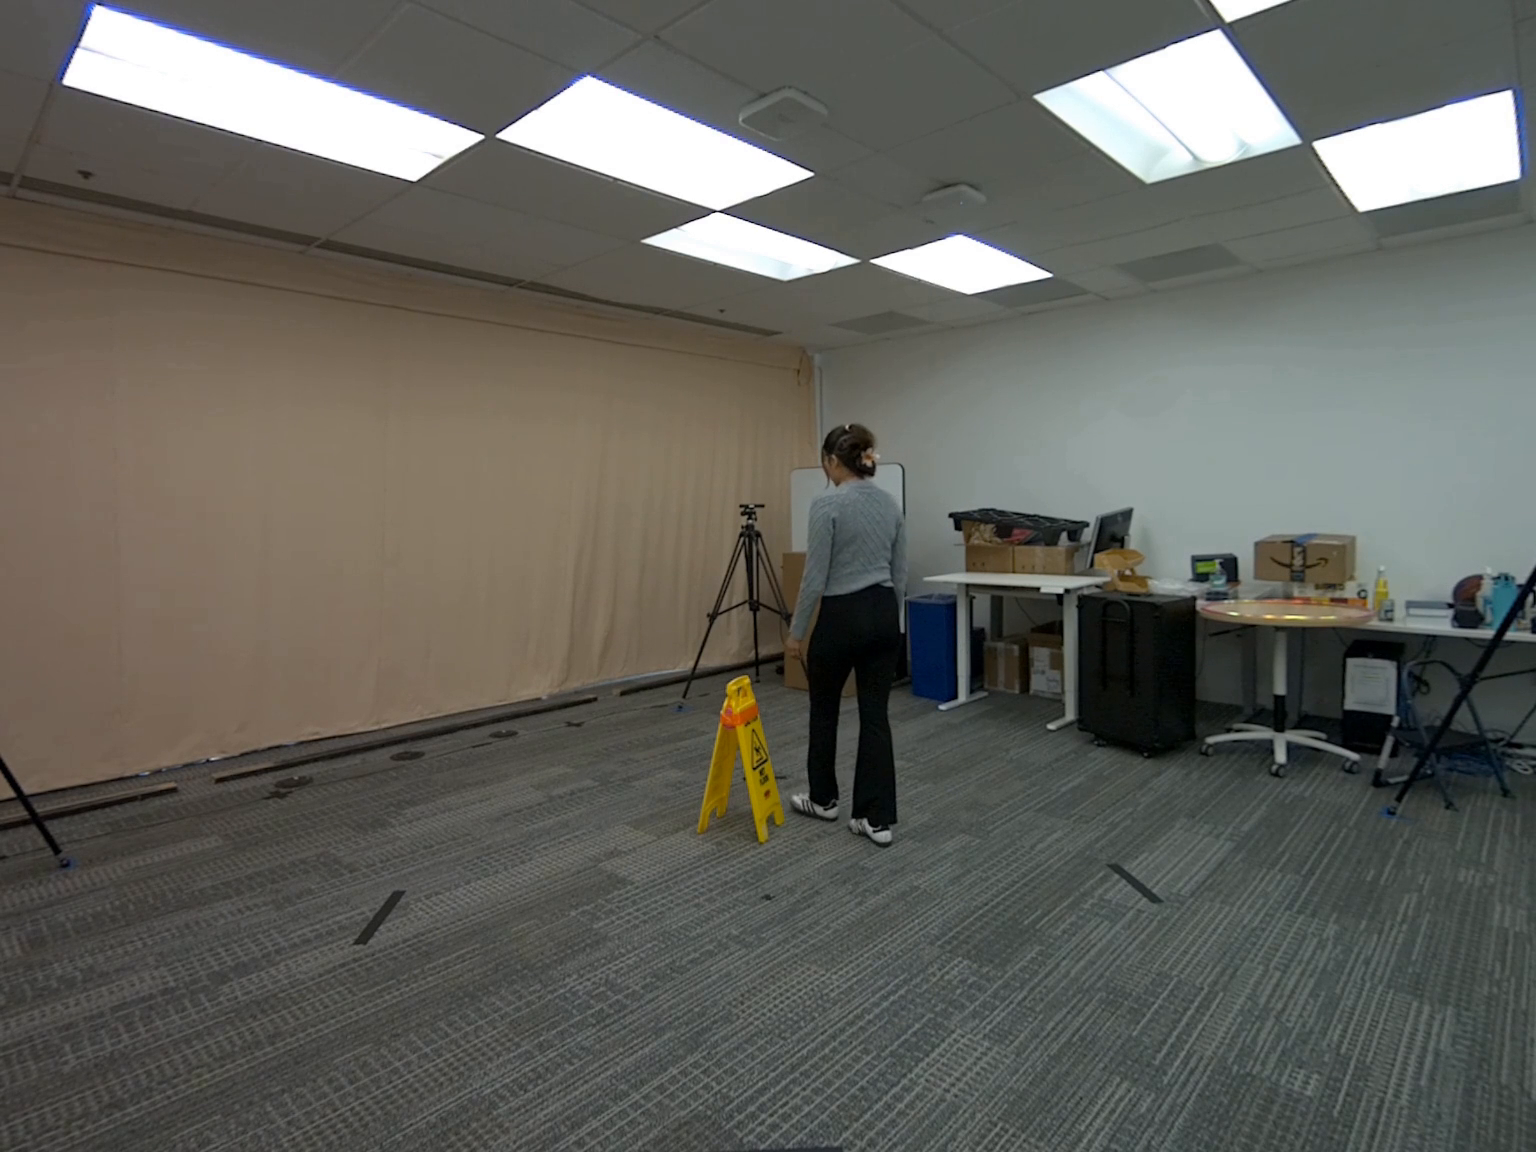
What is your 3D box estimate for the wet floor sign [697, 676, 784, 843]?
[{"bbox_3d":[-0.122,0.765,3.630,0.296,0.645,0.276,0,2,22],"label":"wet floor sign"}]
